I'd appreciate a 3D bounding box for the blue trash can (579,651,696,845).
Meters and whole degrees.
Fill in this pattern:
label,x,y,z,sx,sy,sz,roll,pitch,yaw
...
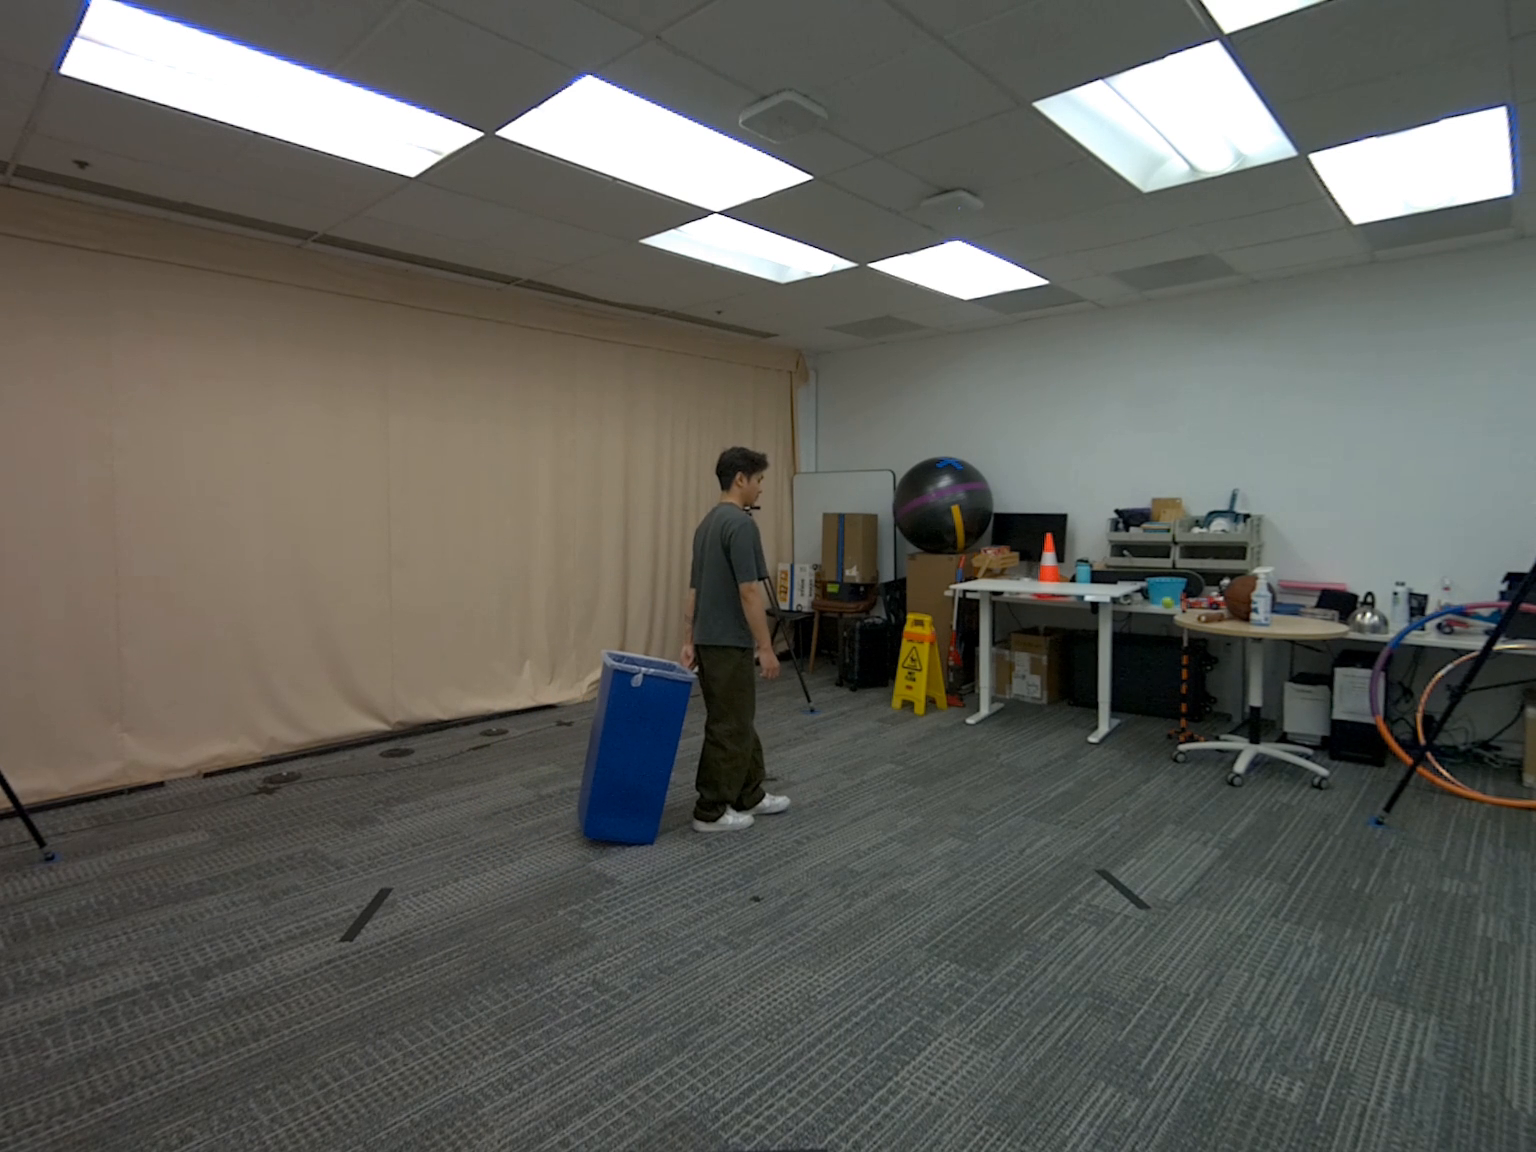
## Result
label,x,y,z,sx,sy,sz,roll,pitch,yaw
blue trash can,-0.581,0.721,3.587,0.371,0.714,0.381,13,-1,-16
